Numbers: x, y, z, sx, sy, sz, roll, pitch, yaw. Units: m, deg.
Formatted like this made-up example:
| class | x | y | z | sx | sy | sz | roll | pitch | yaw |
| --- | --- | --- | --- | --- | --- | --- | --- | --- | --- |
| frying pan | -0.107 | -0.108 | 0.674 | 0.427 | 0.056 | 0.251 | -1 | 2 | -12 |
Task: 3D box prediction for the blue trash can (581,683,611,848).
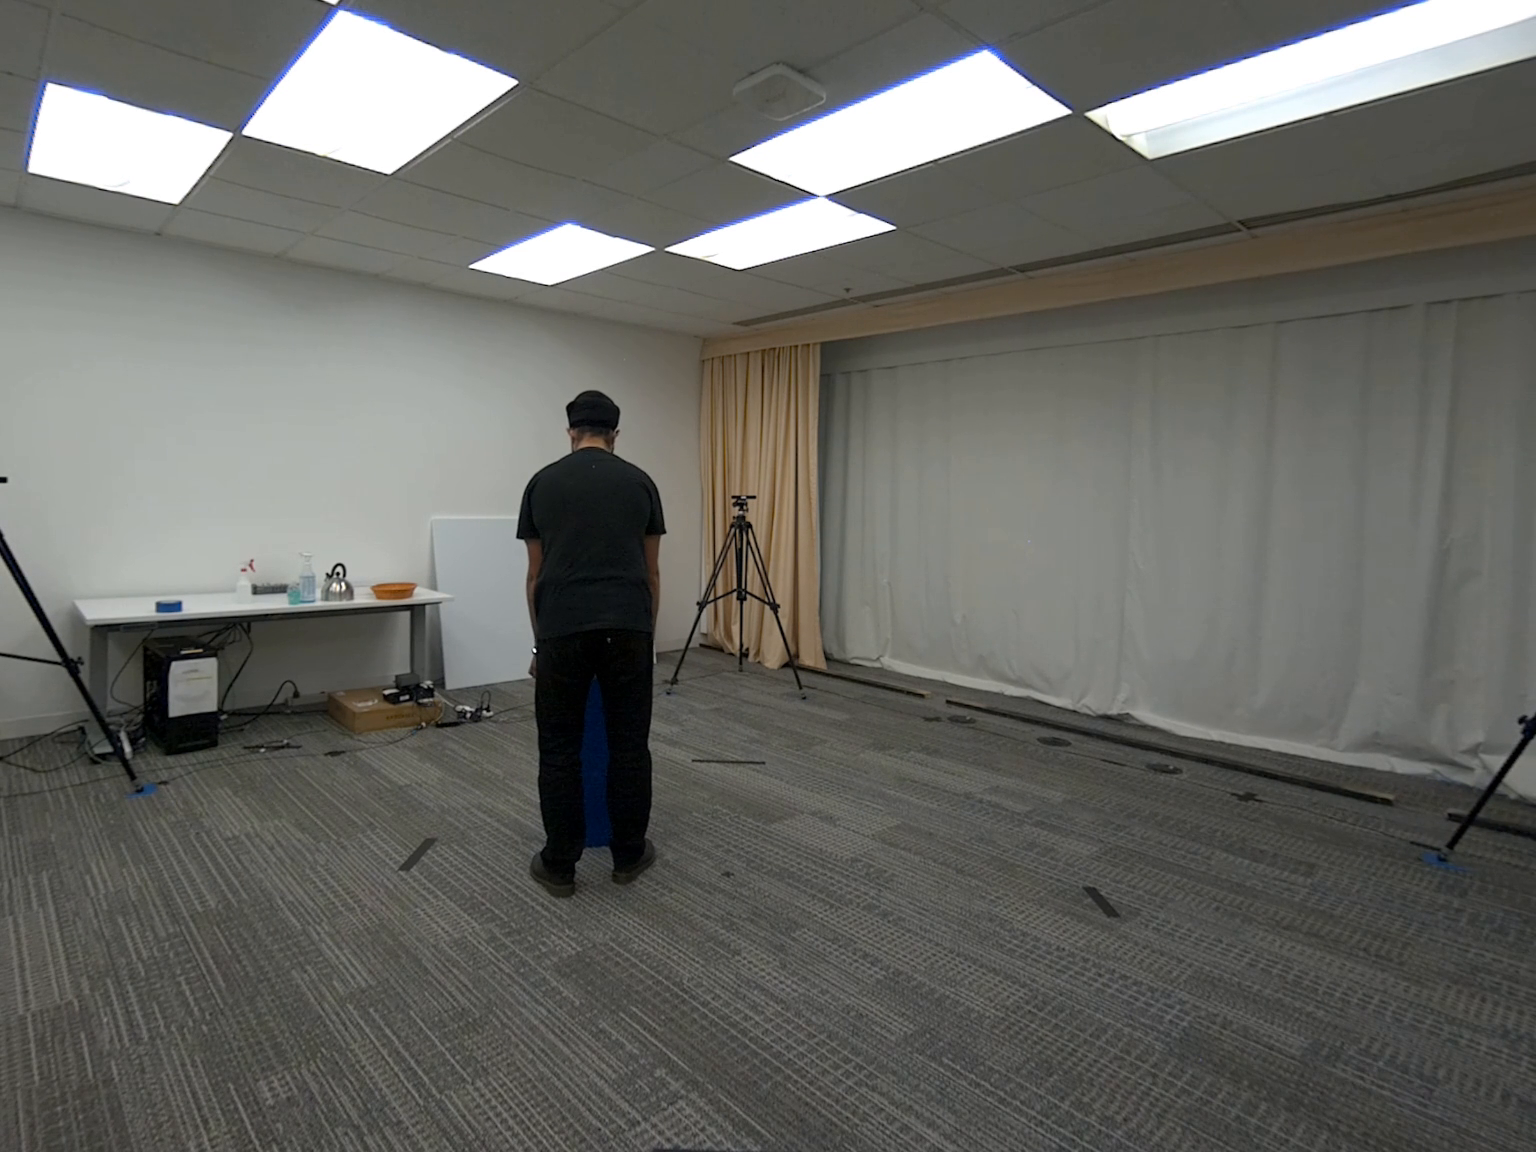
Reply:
| class | x | y | z | sx | sy | sz | roll | pitch | yaw |
| --- | --- | --- | --- | --- | --- | --- | --- | --- | --- |
| blue trash can | -0.737 | 0.705 | 3.432 | 0.374 | 0.712 | 0.379 | 1 | 4 | -15 |
